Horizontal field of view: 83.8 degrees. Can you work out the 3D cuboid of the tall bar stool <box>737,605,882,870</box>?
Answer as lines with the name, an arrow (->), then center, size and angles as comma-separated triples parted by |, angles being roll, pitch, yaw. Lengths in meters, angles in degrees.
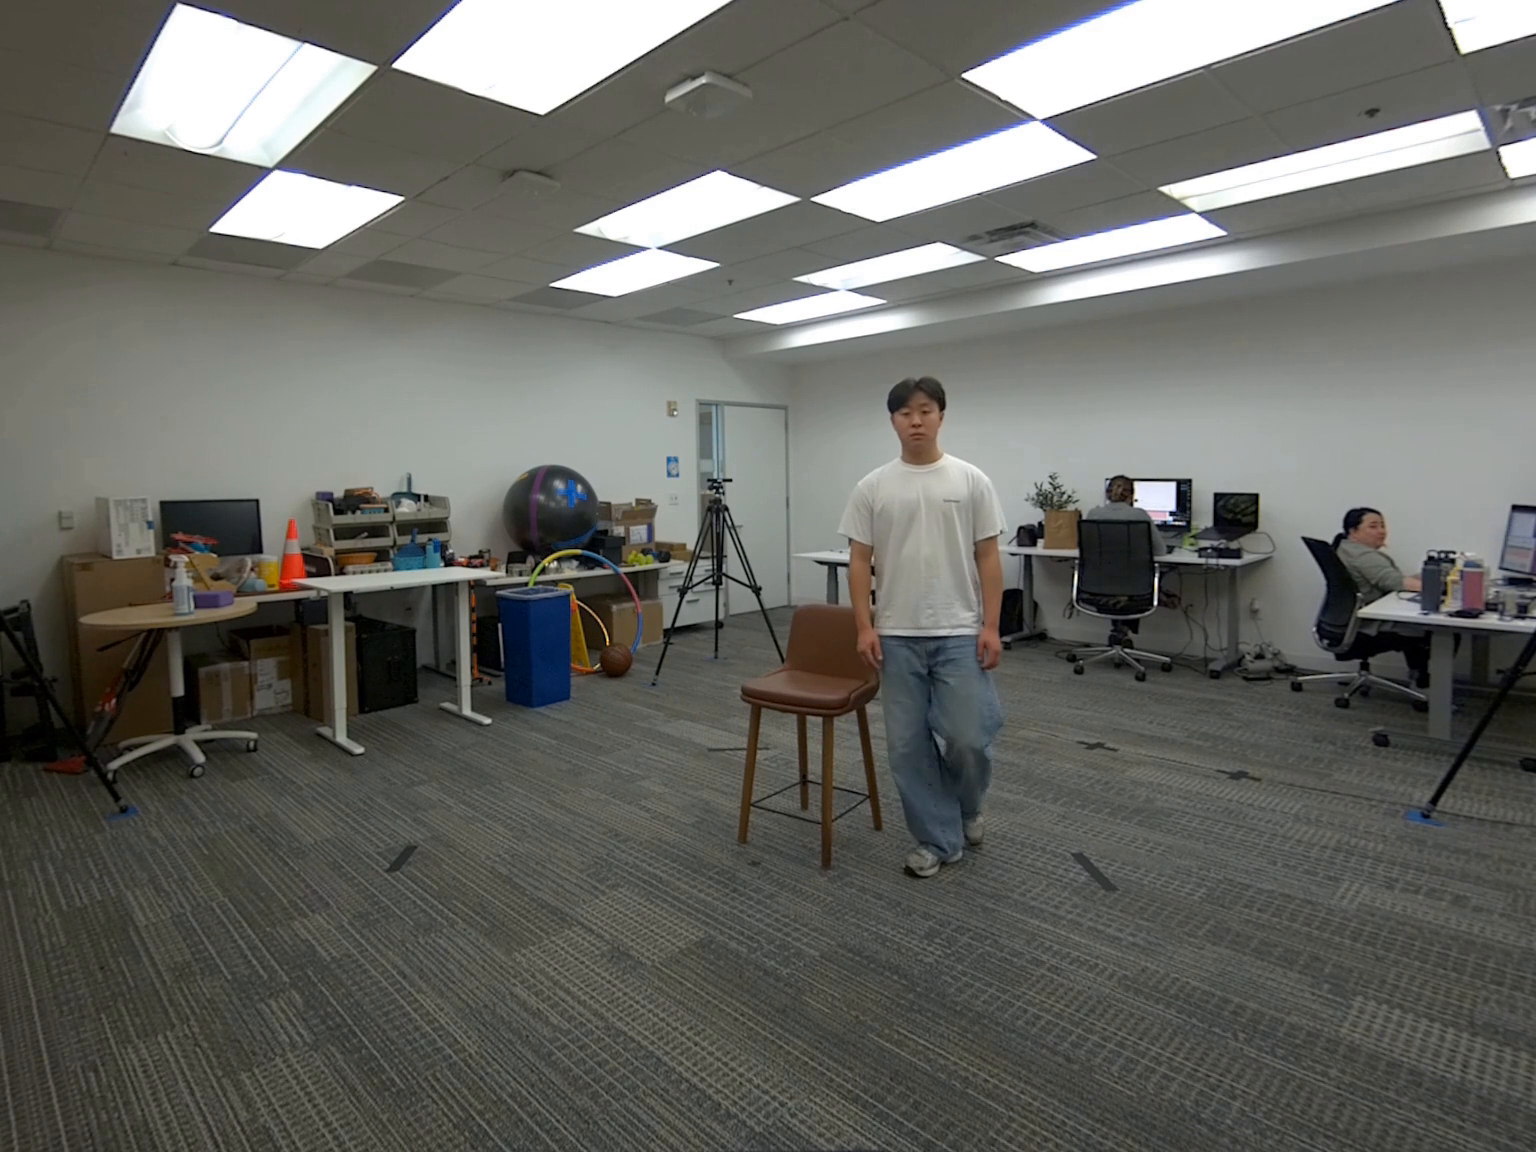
tall bar stool -> 0.172, 0.581, 3.320 | 0.470, 0.888, 0.455 | 3, 3, 38
